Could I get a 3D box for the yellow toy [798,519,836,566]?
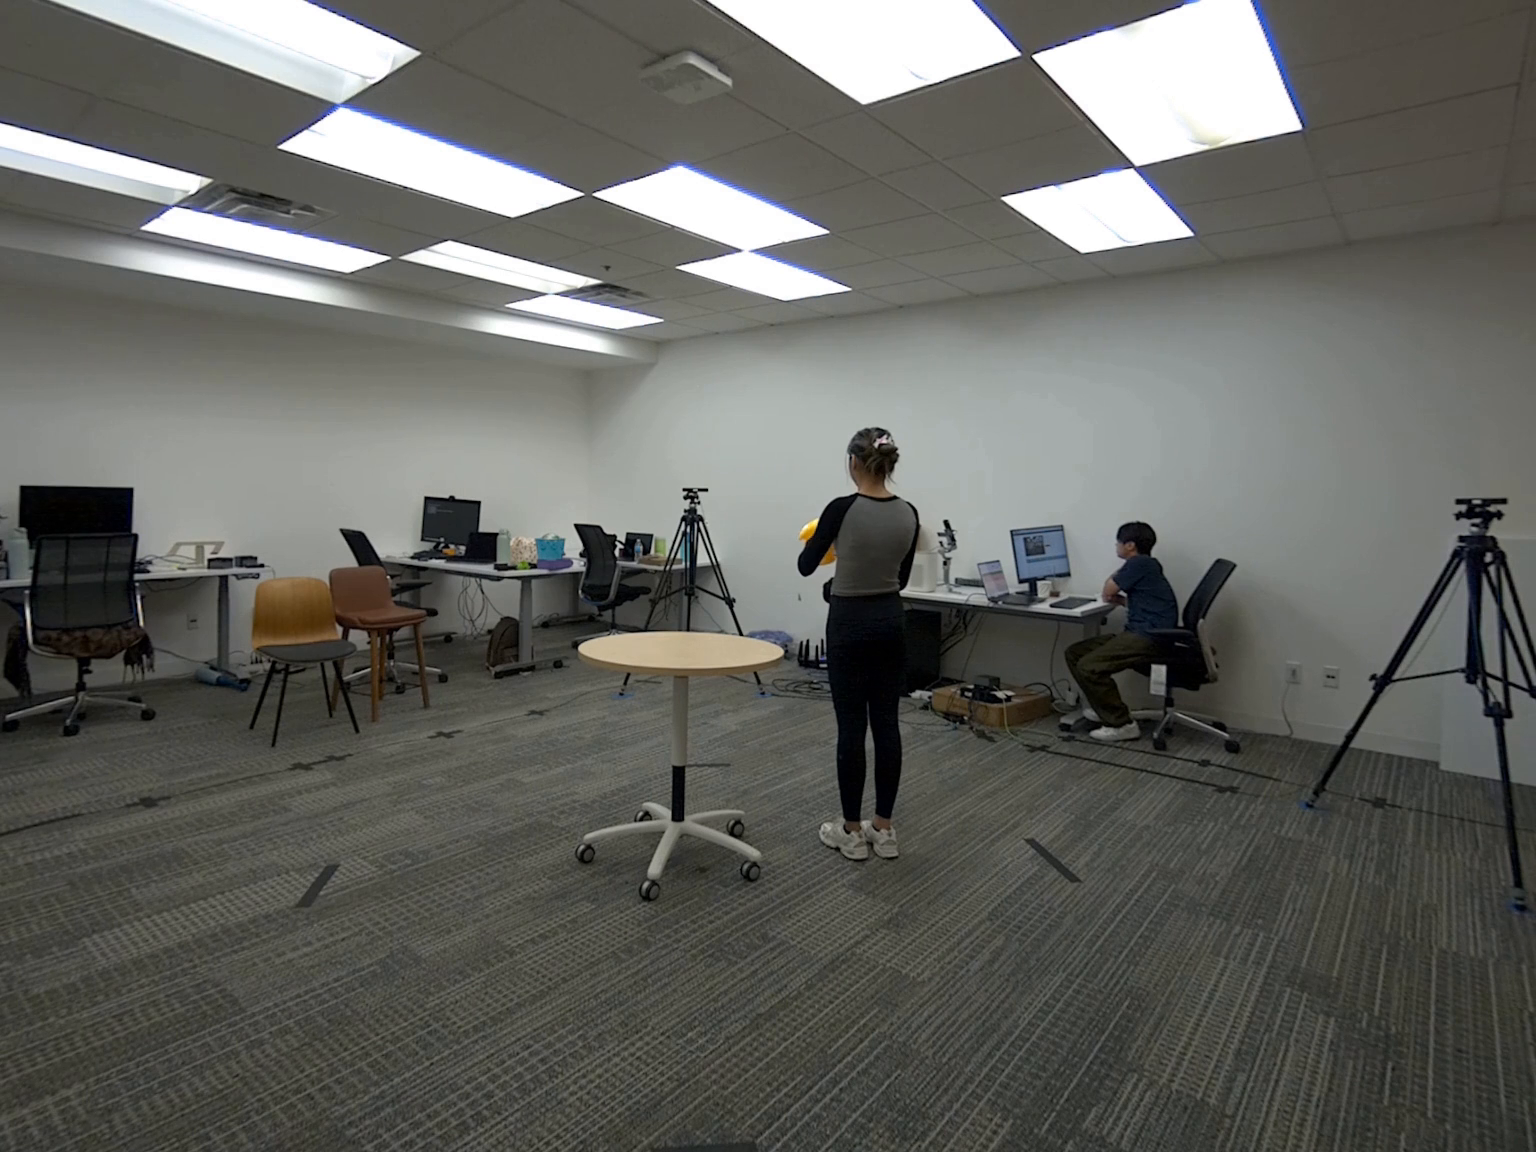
[{"bbox_3d":[0.278,-0.153,3.674,0.191,0.202,0.236,-31,13,-20],"label":"yellow toy"}]
